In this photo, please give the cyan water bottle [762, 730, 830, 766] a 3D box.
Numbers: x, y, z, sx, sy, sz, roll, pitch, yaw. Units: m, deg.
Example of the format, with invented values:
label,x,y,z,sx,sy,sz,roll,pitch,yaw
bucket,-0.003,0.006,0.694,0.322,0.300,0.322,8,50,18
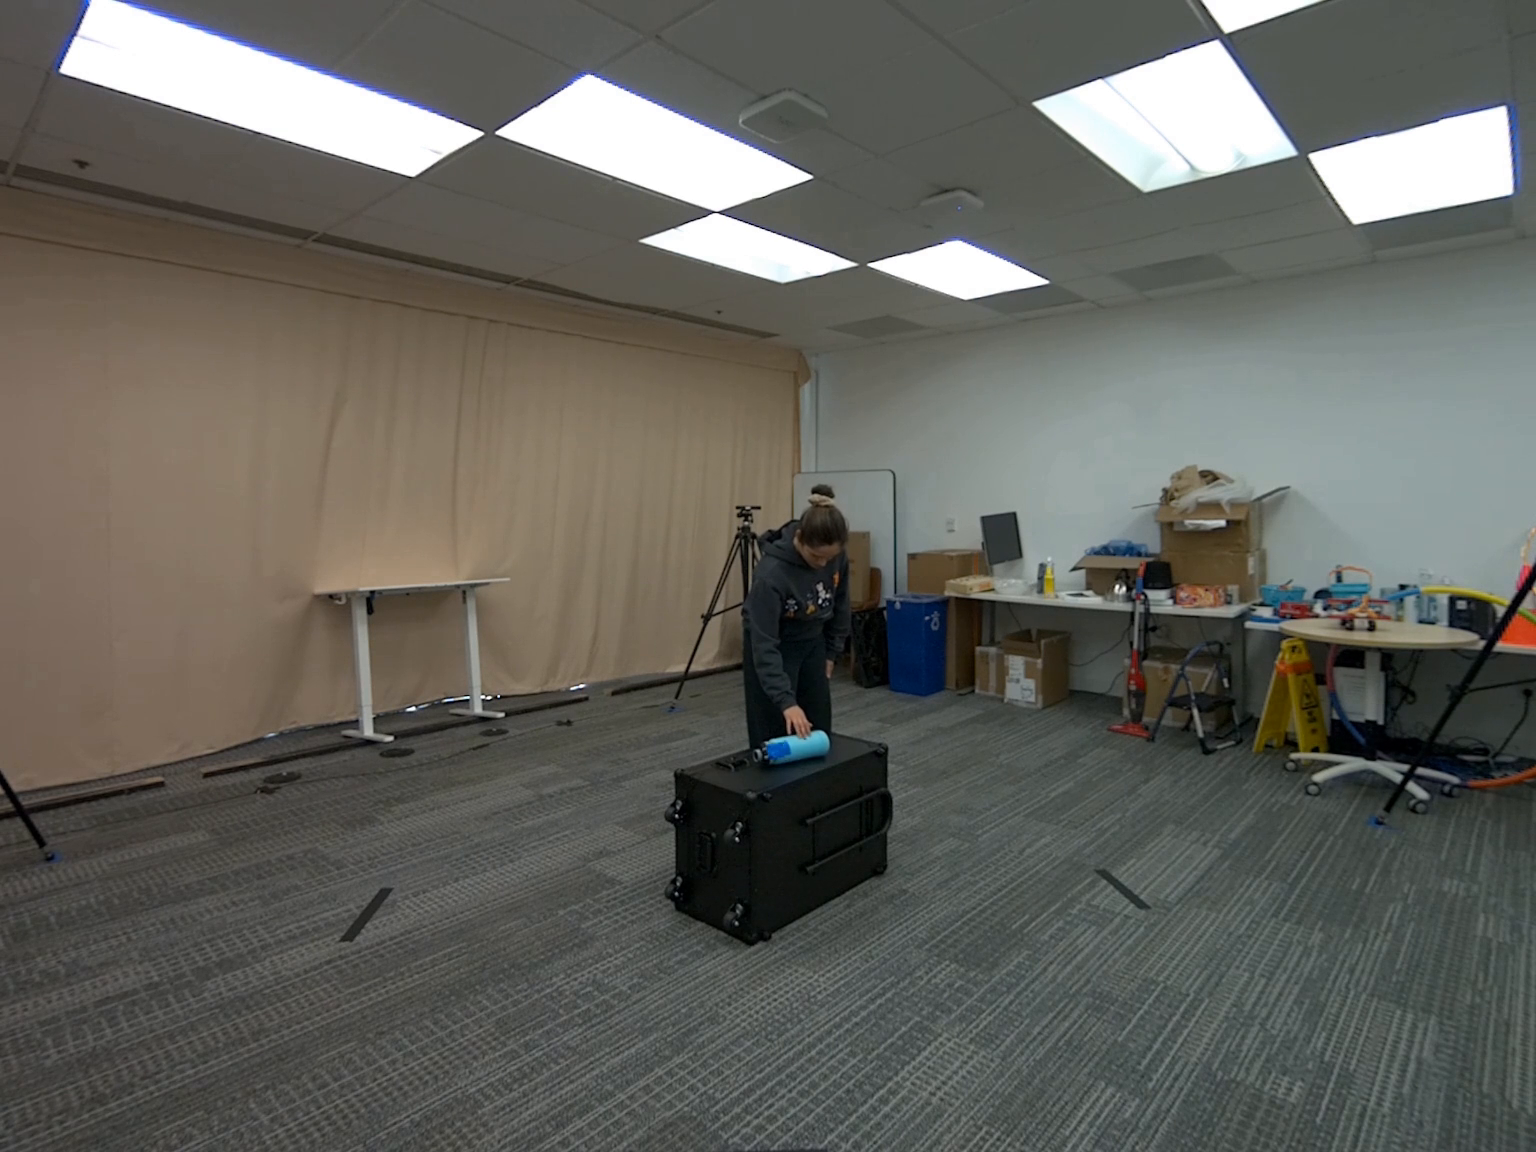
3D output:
label,x,y,z,sx,sy,sz,roll,pitch,yaw
cyan water bottle,0.092,0.604,2.999,0.276,0.092,0.095,-4,6,-31
